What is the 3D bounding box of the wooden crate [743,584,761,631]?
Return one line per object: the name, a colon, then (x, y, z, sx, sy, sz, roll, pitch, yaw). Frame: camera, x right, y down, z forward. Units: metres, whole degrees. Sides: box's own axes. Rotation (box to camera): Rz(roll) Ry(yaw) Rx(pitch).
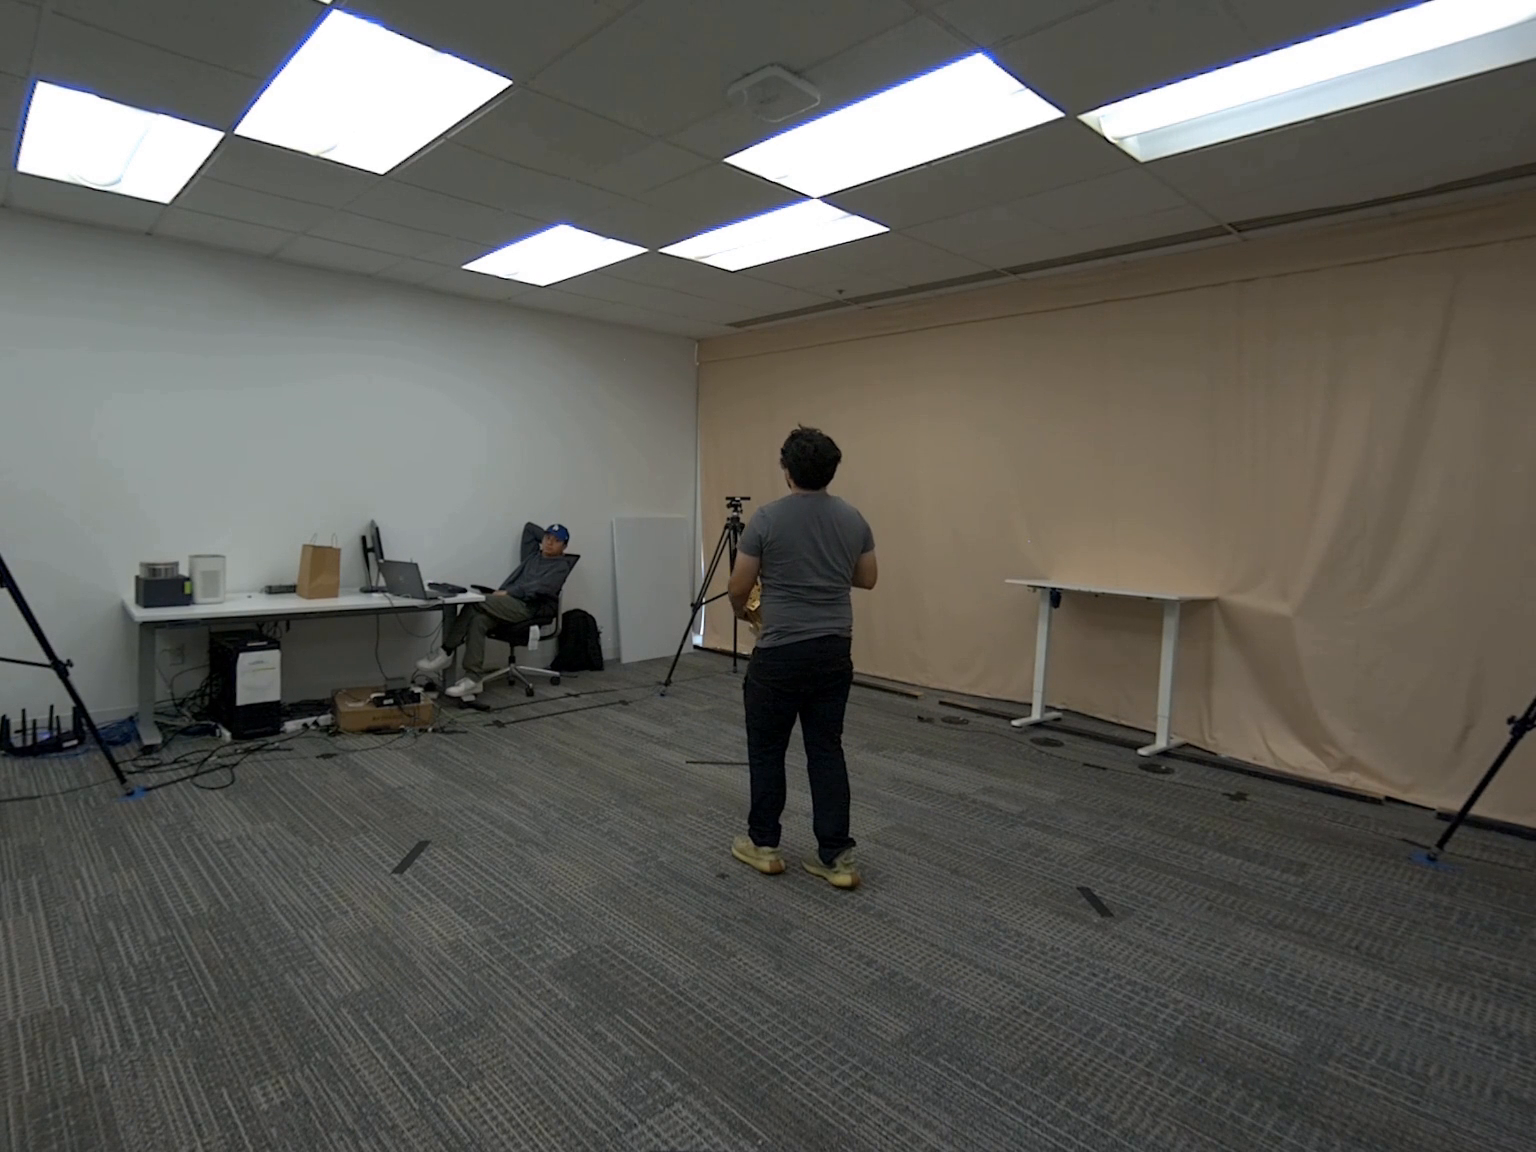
wooden crate: (0.041, 0.097, 3.527, 0.324, 0.267, 0.310, -43, 26, -12)
